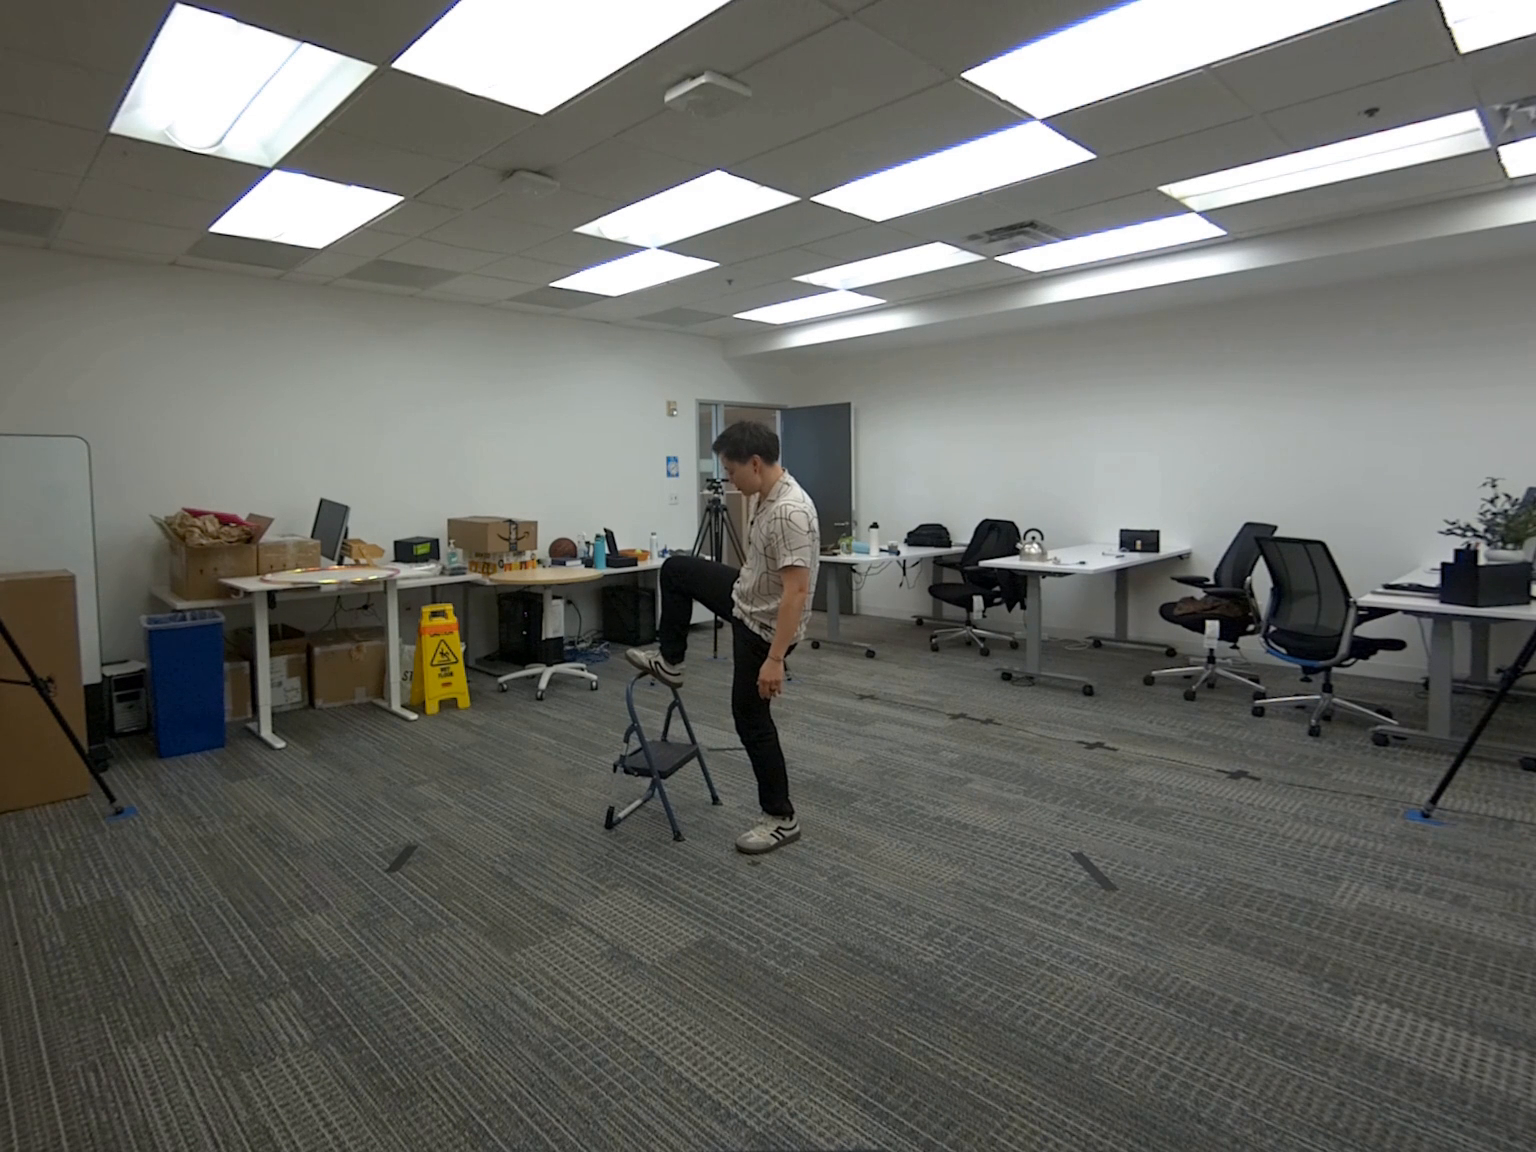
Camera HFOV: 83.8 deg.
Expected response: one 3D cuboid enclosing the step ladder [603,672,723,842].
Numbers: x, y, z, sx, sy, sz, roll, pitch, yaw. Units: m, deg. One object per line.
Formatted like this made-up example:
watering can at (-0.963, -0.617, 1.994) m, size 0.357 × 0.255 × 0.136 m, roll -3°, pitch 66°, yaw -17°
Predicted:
step ladder at (-0.441, 0.700, 3.546) m, size 0.356 × 0.604 × 0.424 m, roll 0°, pitch 4°, yaw 20°
